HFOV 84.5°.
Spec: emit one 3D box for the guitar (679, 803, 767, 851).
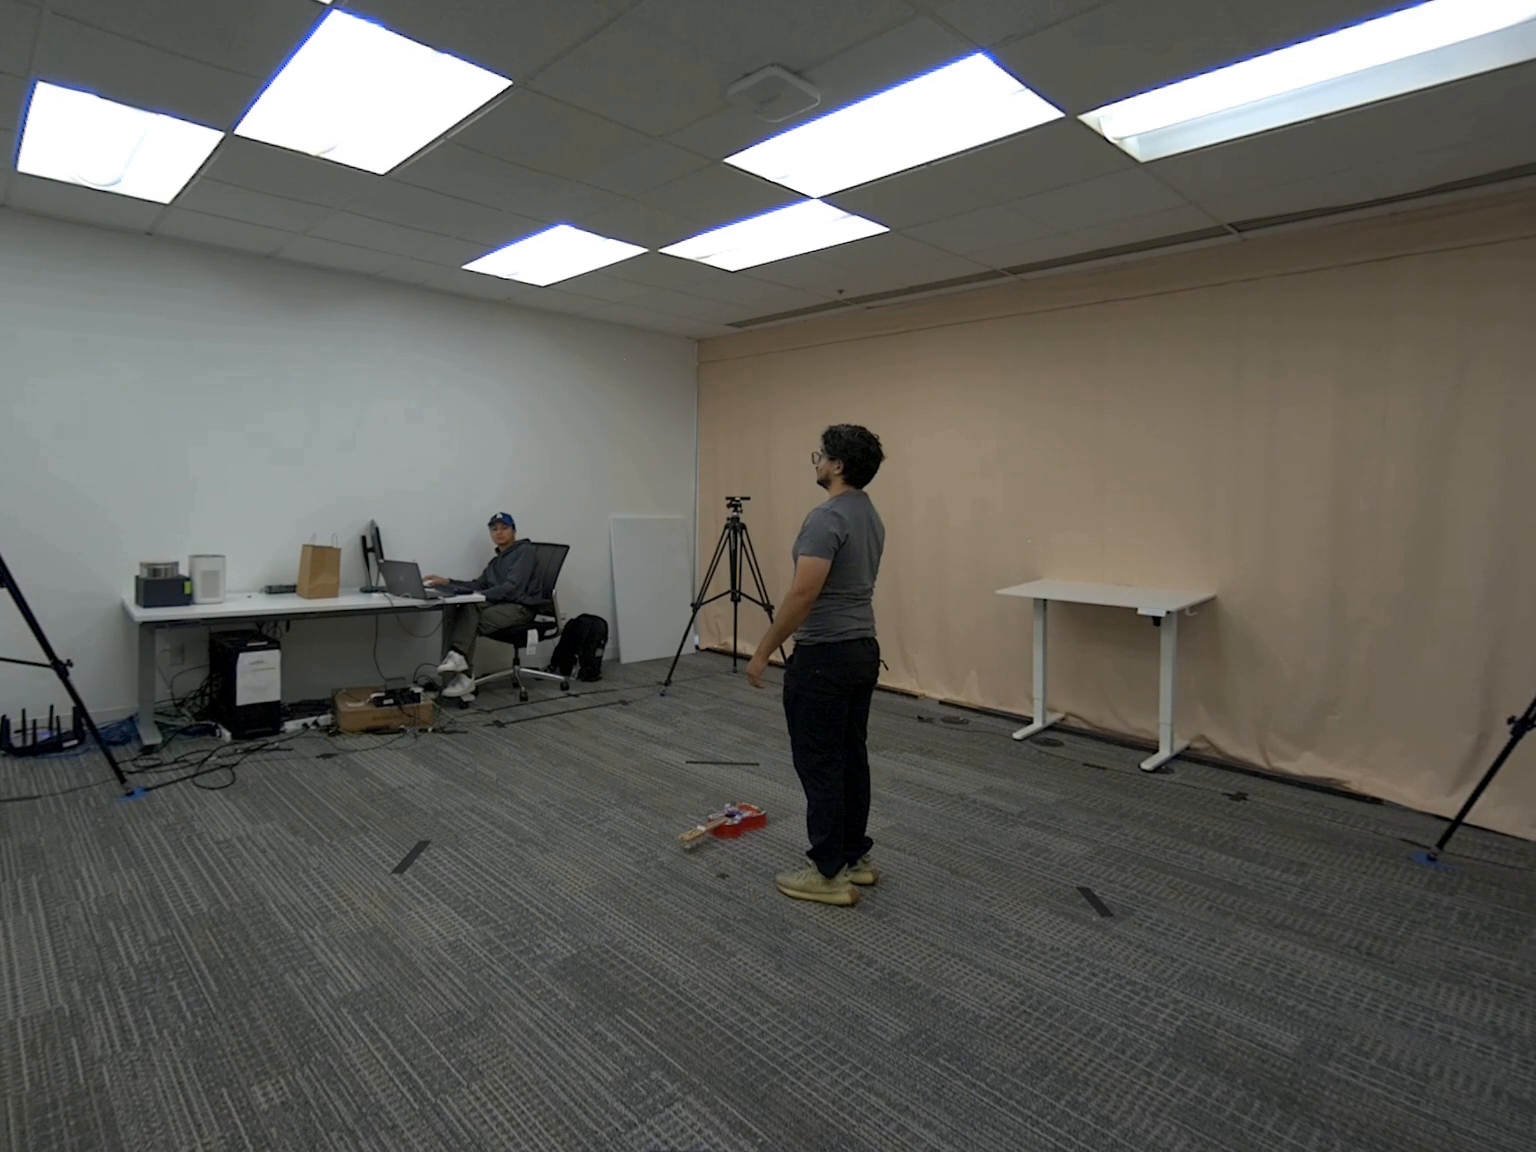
[{"bbox_3d":[-0.232,1.037,3.500,0.198,0.070,0.486,6,6,42],"label":"guitar"}]
